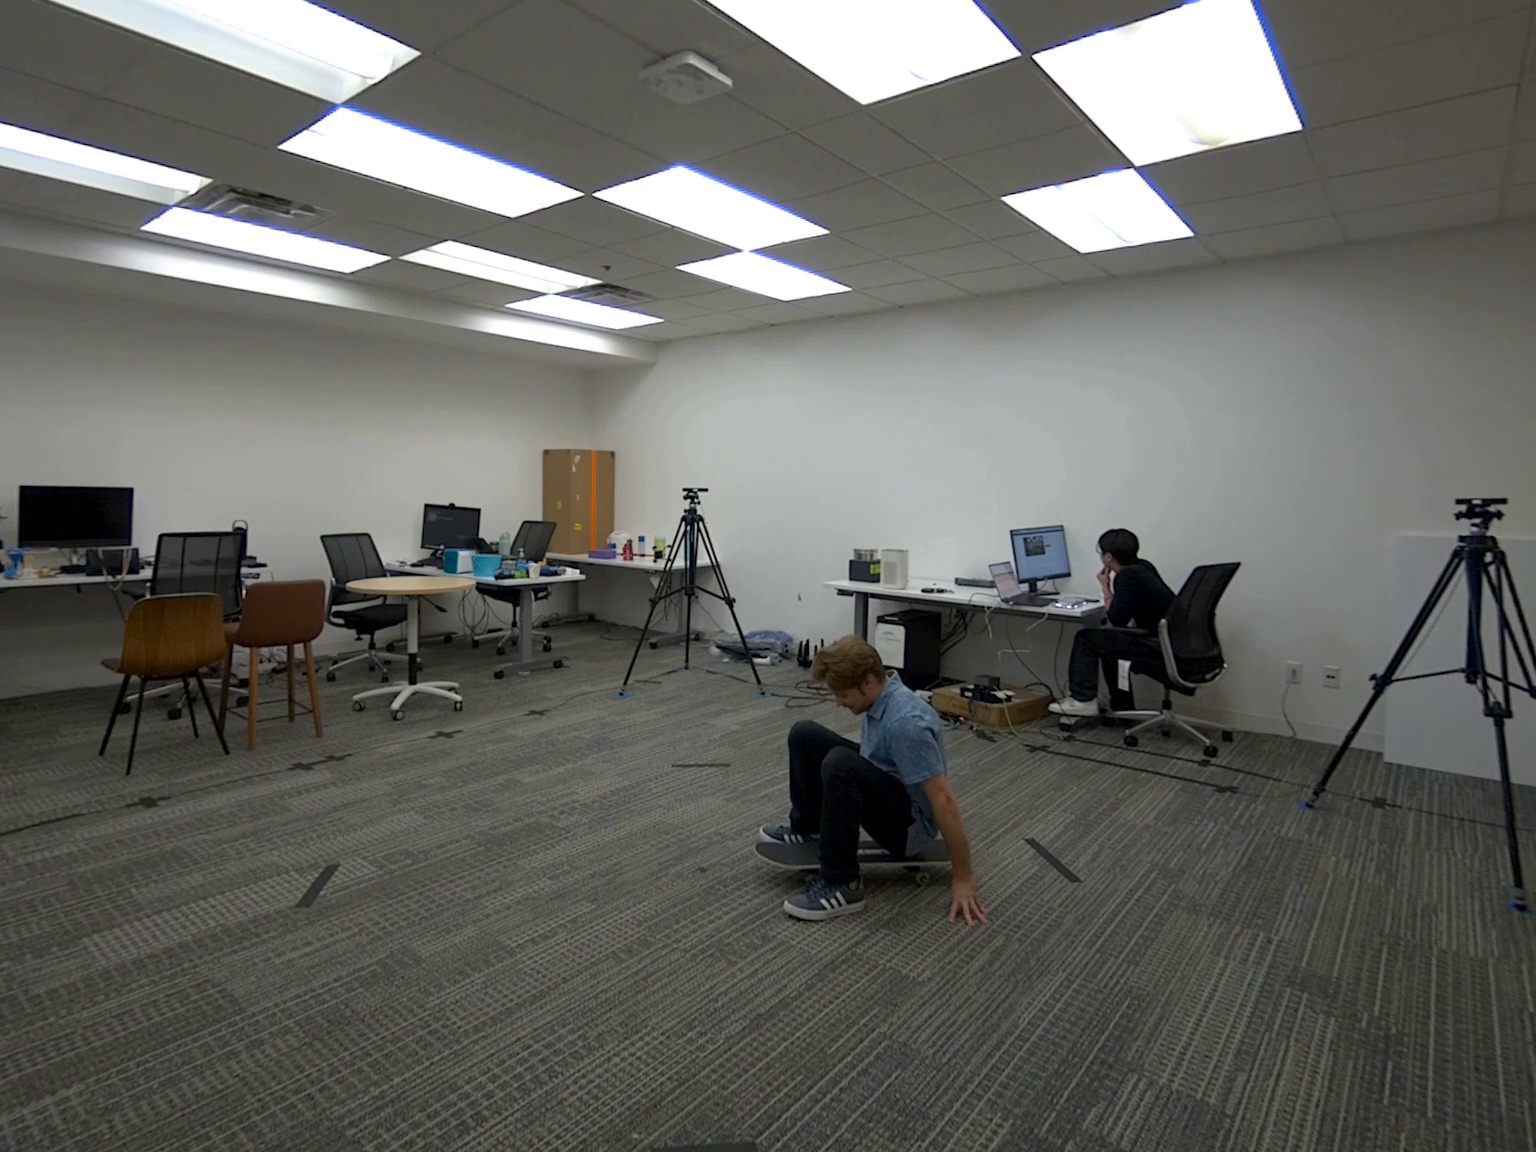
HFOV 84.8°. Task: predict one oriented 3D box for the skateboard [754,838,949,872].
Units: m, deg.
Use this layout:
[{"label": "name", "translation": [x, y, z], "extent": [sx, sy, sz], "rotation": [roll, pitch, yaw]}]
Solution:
[{"label": "skateboard", "translation": [0.330, 1.027, 3.077], "extent": [0.778, 0.110, 0.196], "rotation": [2, 5, -8]}]
